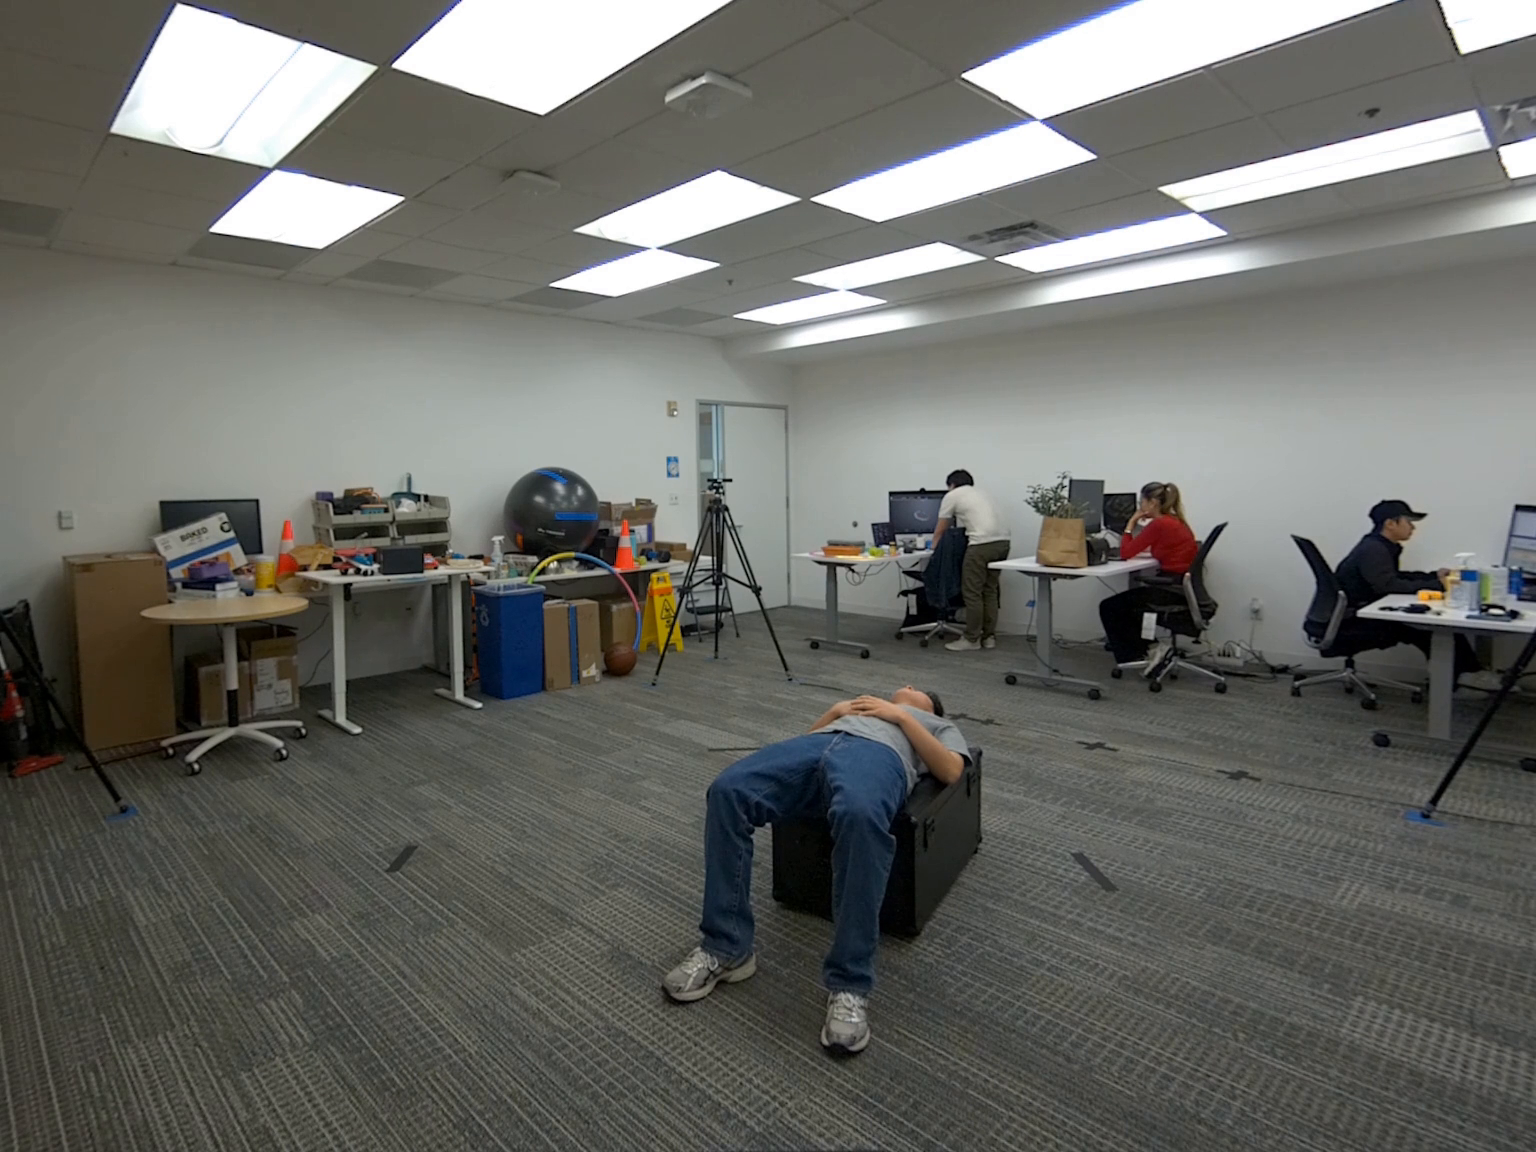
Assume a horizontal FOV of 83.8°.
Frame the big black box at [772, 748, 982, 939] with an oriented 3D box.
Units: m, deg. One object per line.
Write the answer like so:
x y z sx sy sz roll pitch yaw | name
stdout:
0.426 0.866 3.010 0.535 0.394 0.843 1 6 29 | big black box
